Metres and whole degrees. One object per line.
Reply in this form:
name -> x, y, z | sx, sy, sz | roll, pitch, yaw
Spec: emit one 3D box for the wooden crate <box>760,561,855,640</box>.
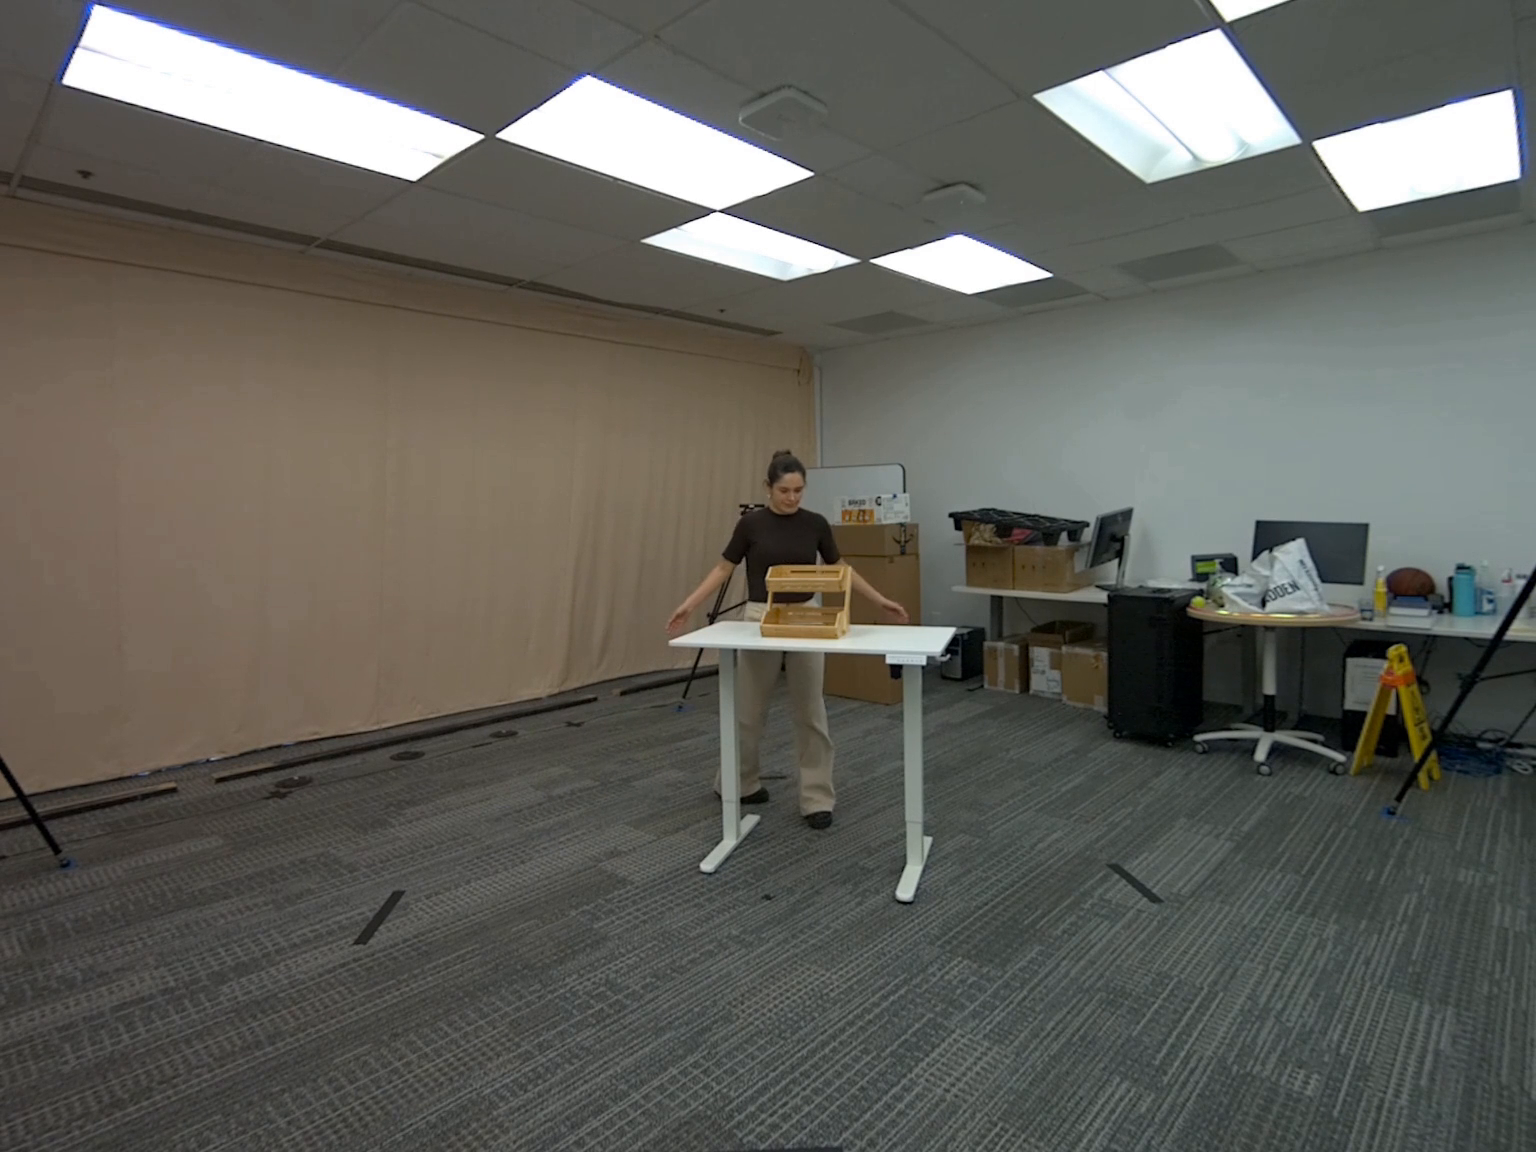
wooden crate -> 0.154, 0.094, 3.321 | 0.331, 0.273, 0.297 | 0, 3, 17
